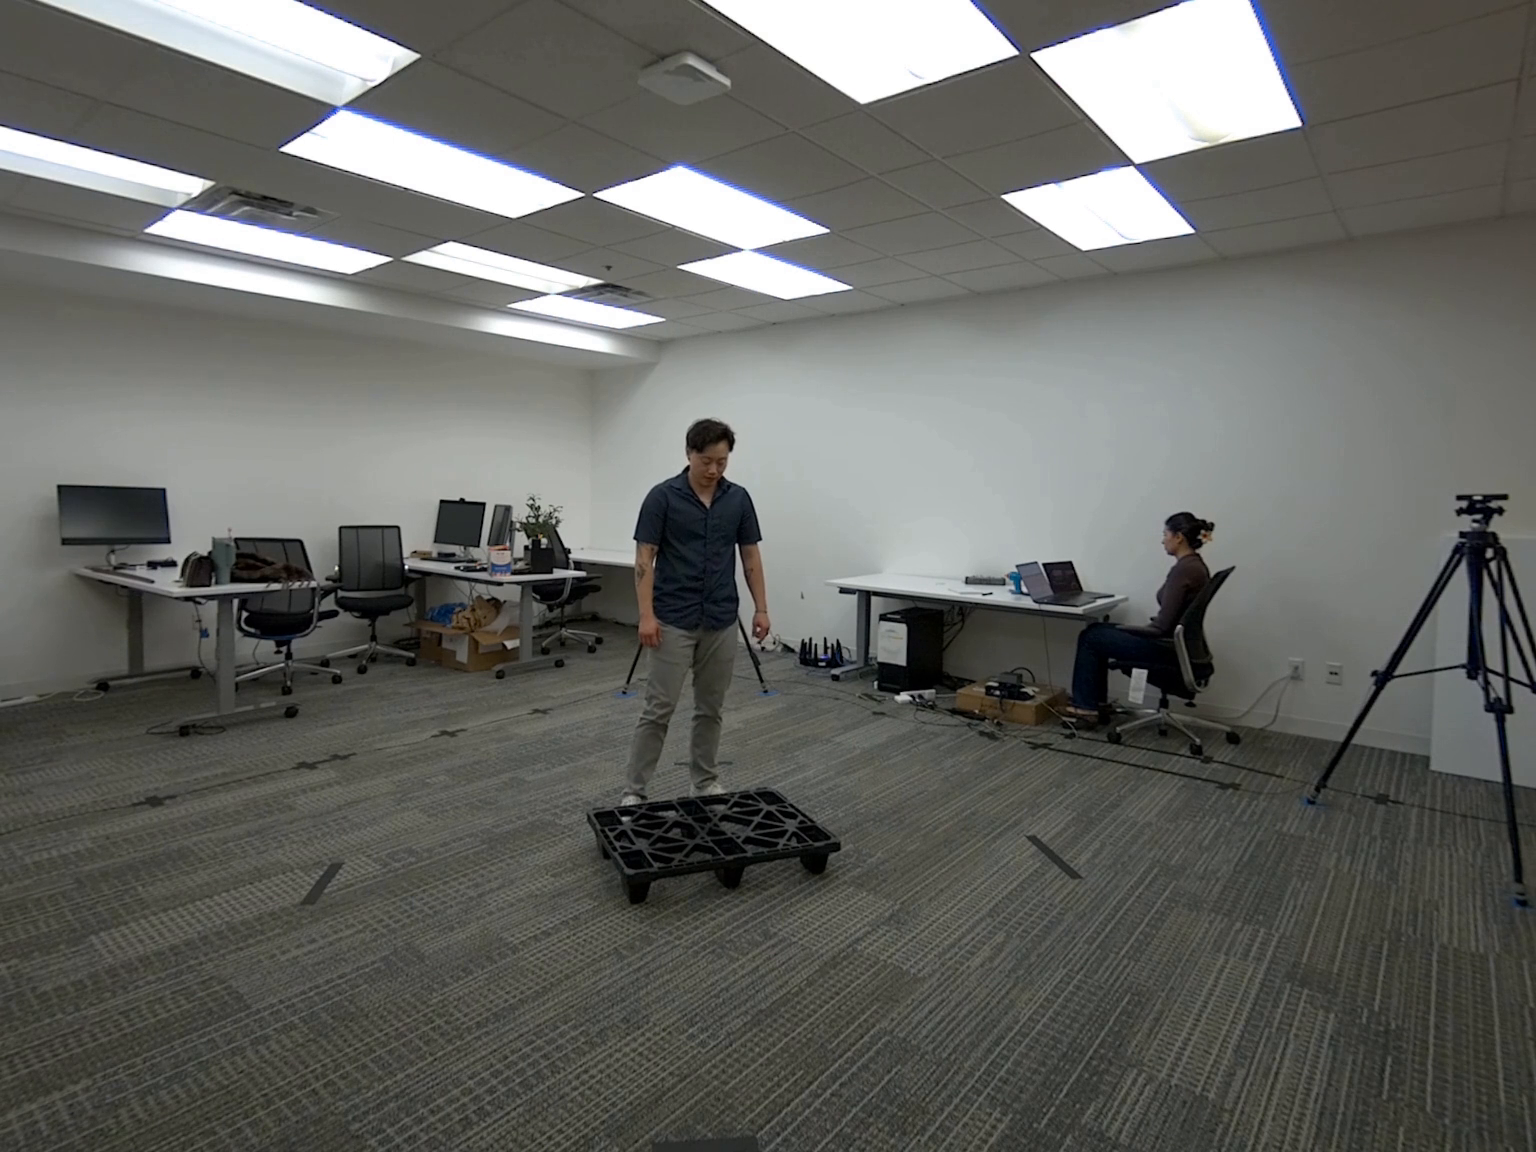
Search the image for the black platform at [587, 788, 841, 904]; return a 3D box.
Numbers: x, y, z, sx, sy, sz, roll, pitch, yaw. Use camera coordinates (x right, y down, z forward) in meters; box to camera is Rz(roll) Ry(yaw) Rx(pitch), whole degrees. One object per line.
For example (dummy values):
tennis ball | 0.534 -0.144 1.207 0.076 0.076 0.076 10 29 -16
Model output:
black platform | -0.226 0.989 3.171 0.788 0.143 0.621 -2 7 -23
